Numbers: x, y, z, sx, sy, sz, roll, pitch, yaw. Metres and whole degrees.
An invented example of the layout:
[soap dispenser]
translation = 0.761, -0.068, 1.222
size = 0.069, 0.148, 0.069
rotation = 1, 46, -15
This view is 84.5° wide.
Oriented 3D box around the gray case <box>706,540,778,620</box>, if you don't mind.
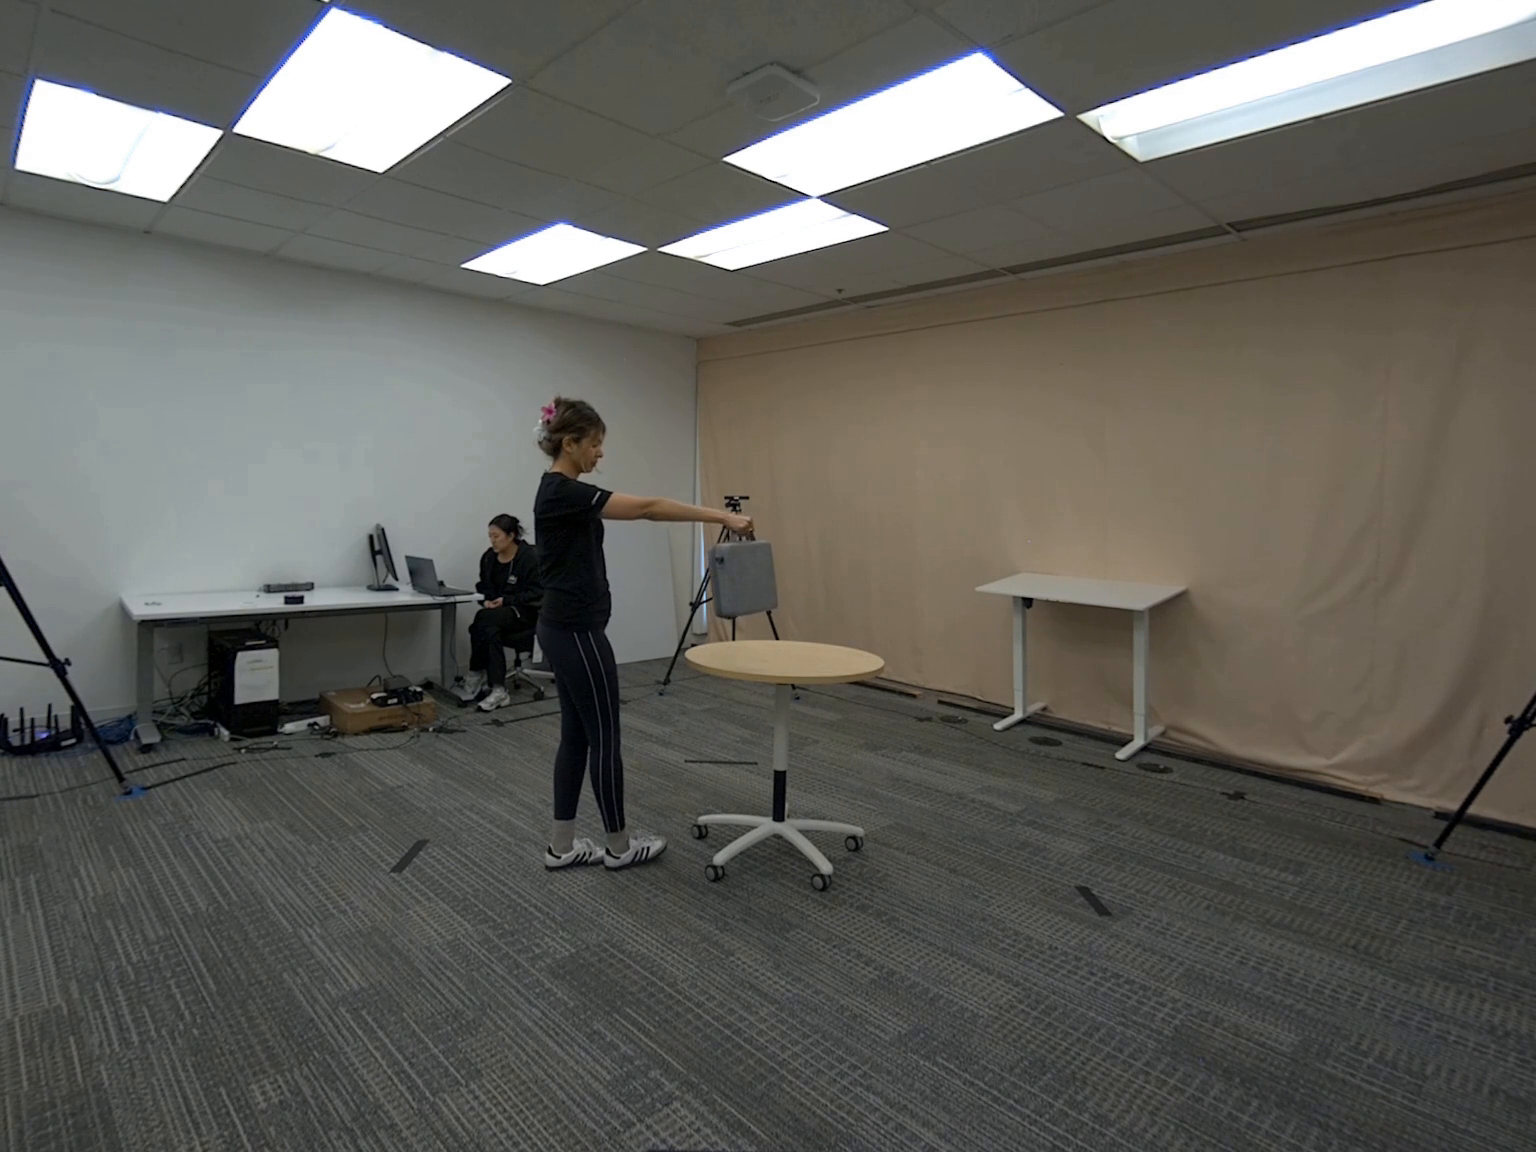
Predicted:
[gray case]
translation = -0.093, 0.007, 2.914
size = 0.106, 0.260, 0.251
rotation = -3, 3, 40
